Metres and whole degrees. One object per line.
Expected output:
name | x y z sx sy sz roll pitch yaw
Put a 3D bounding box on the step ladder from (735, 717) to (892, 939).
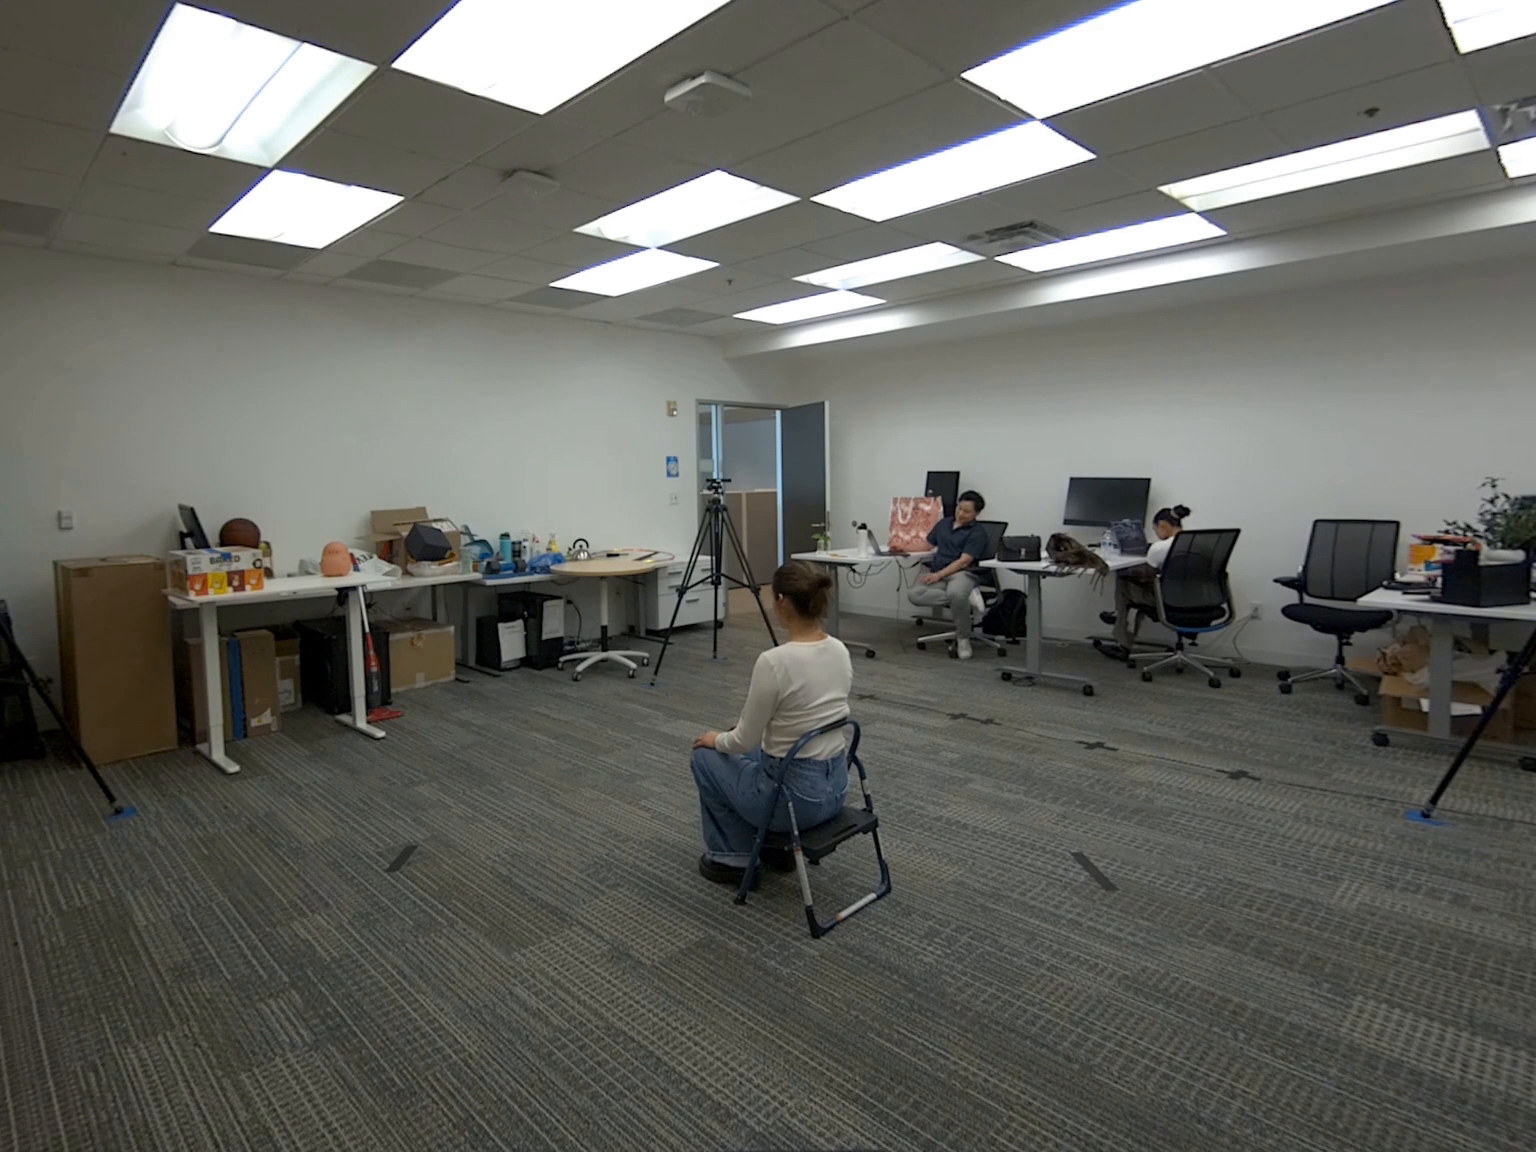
step ladder | 0.154 0.767 2.828 0.360 0.604 0.419 3 6 42
